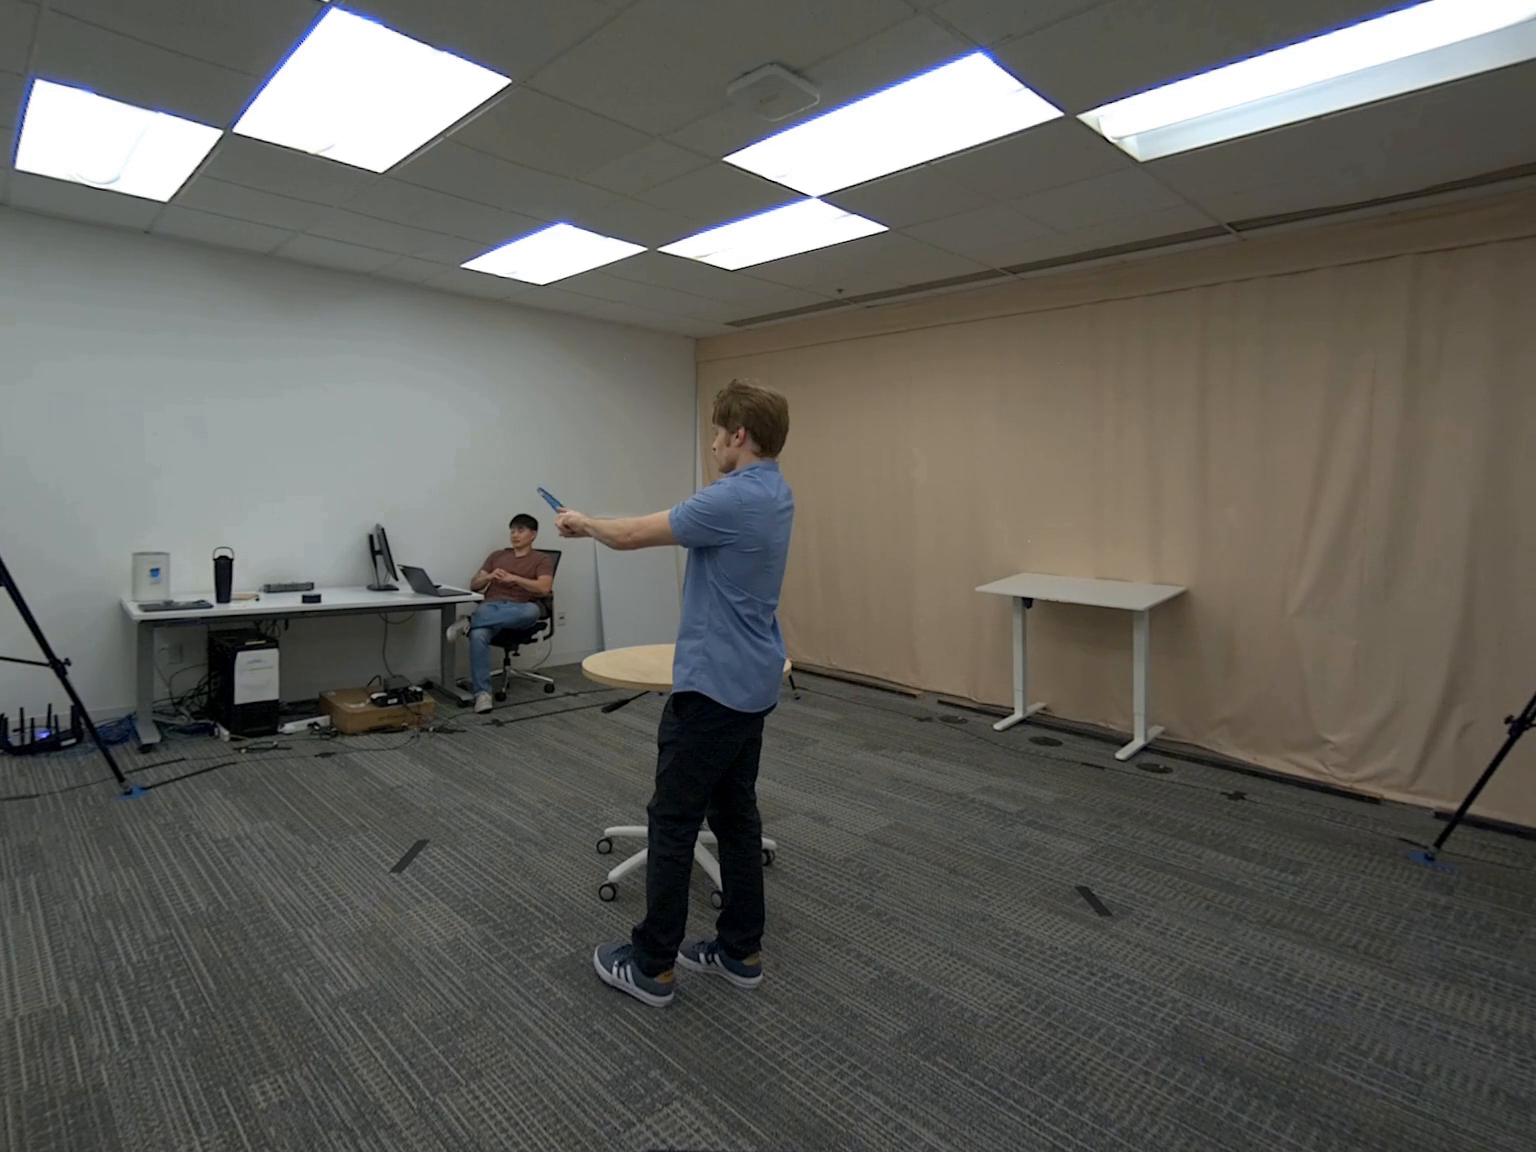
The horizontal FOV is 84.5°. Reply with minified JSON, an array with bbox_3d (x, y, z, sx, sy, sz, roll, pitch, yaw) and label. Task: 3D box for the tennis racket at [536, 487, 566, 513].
[{"bbox_3d":[-0.677,-0.199,2.734,0.032,0.210,0.441,-42,20,-1],"label":"tennis racket"}]
